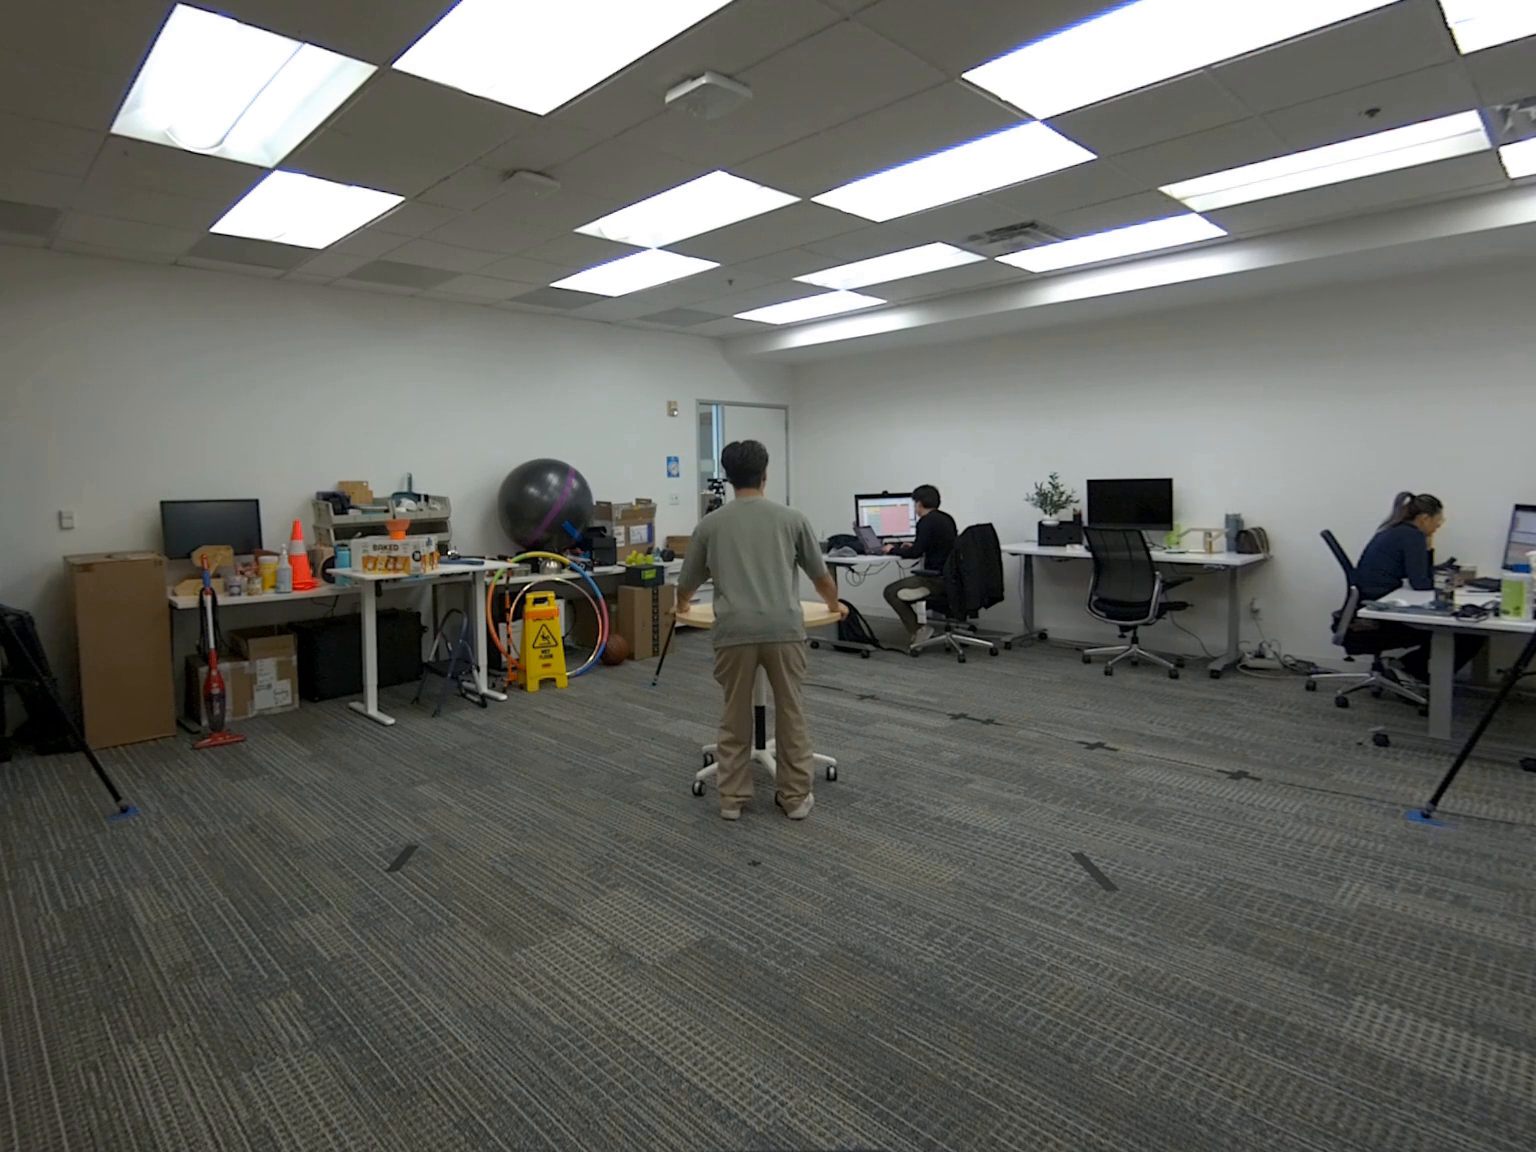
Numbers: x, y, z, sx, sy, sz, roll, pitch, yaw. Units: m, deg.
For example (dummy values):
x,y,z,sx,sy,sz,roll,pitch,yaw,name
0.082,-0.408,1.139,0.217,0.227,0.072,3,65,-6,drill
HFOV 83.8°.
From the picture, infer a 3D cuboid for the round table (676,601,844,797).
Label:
x,y,z,sx,sy,sz,roll,pitch,yaw,name
-0.025,0.552,3.969,0.784,0.784,0.788,-2,4,-2,round table
